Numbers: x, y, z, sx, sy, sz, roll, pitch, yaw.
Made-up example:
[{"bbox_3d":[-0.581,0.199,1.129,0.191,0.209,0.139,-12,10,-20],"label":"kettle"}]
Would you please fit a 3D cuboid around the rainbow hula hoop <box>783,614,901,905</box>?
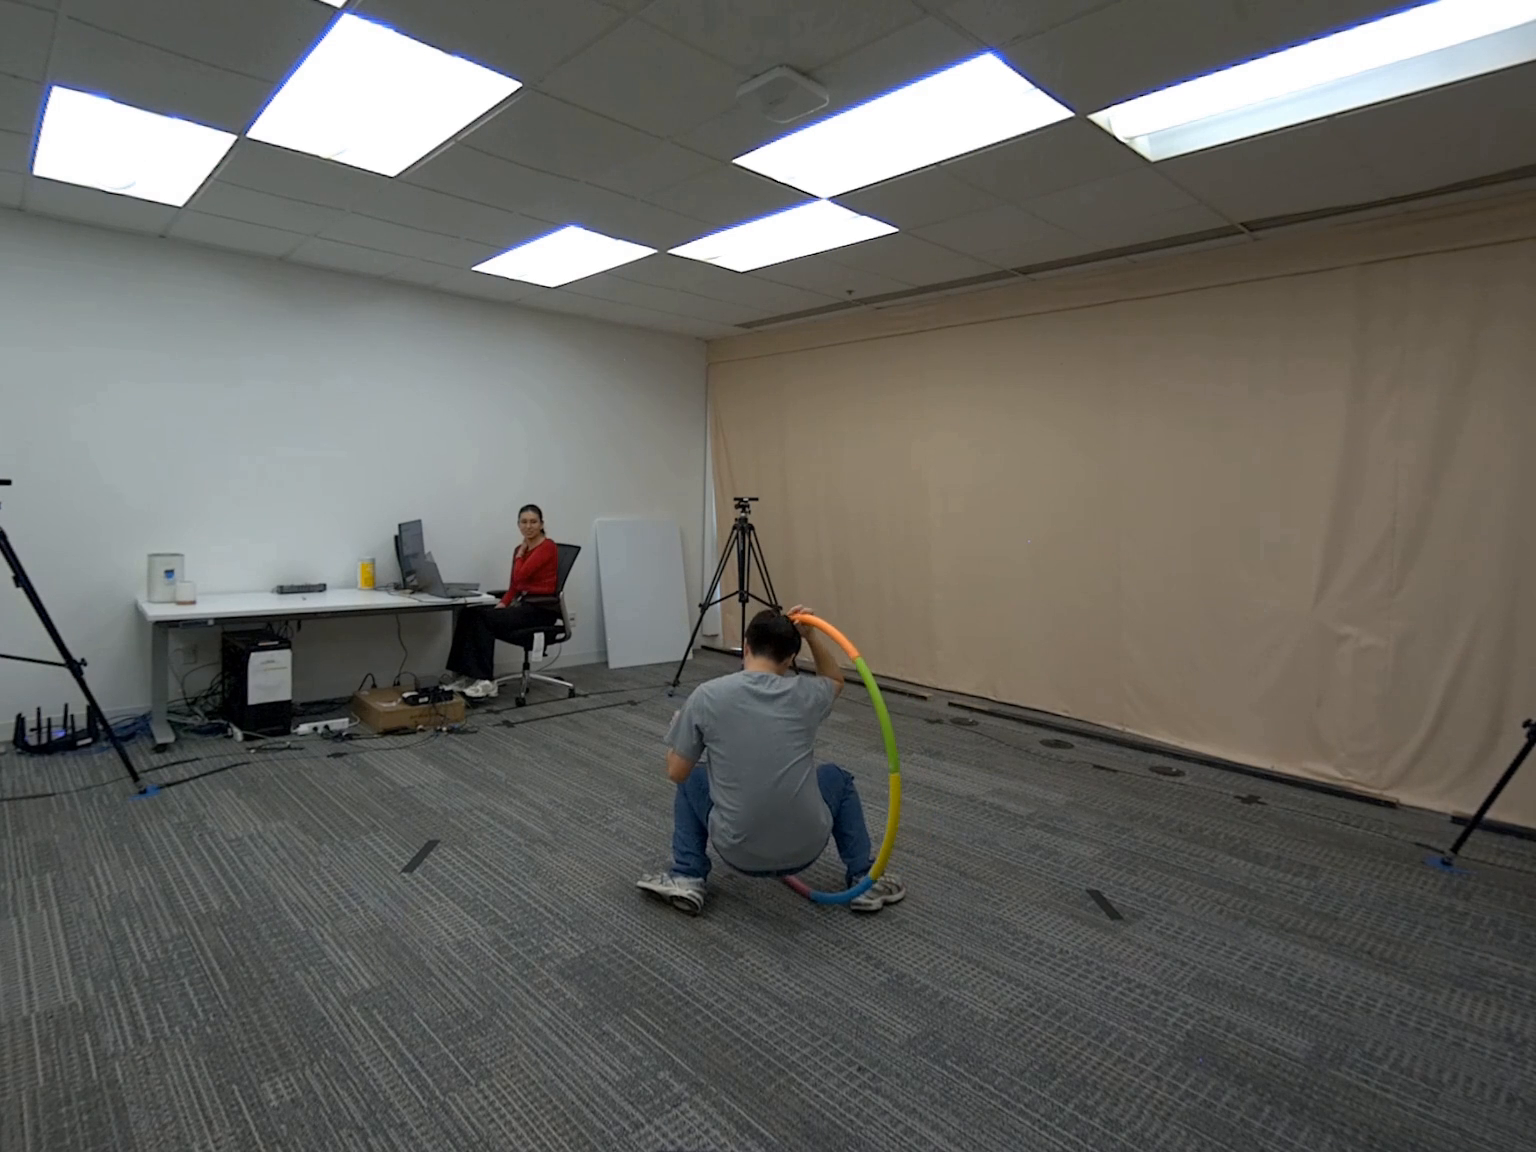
[{"bbox_3d":[0.105,0.626,2.972,0.035,0.976,1.002,0,5,-32],"label":"rainbow hula hoop"}]
